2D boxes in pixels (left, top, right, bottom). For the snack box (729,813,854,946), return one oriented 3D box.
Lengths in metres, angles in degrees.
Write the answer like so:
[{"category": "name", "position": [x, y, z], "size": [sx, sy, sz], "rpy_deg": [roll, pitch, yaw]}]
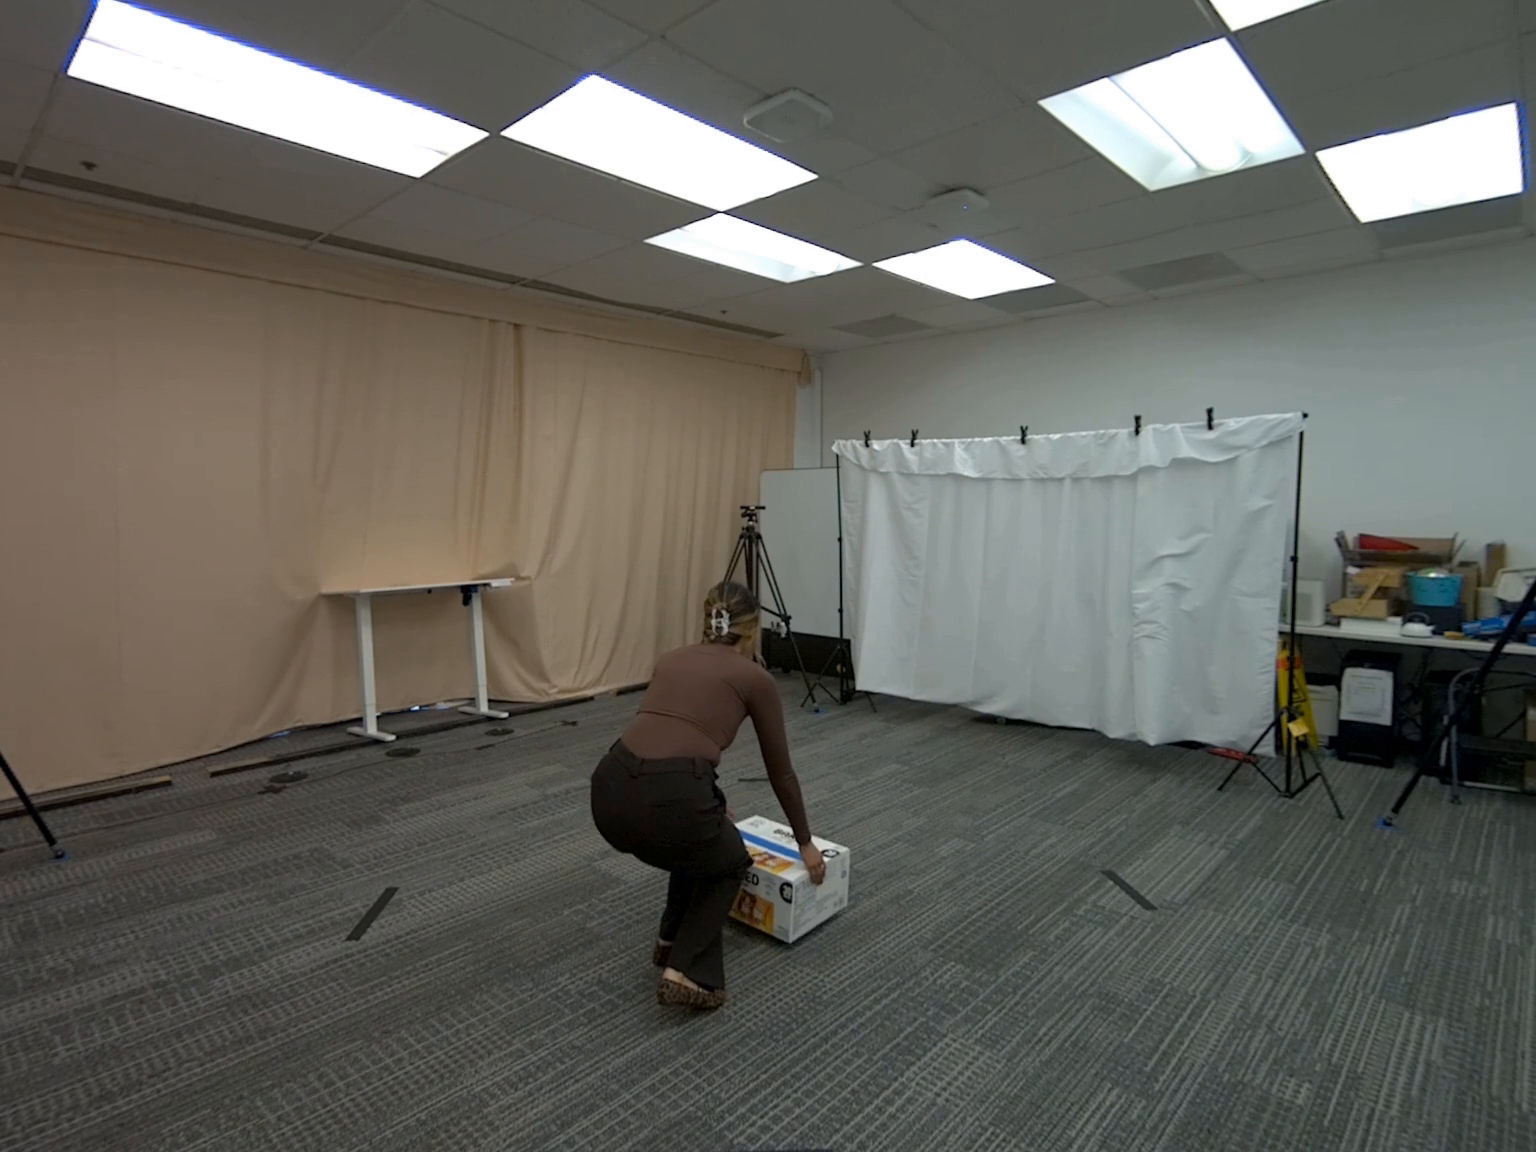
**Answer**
[{"category": "snack box", "position": [0.018, 0.999, 2.852], "size": [0.419, 0.205, 0.330], "rpy_deg": [7, 7, 38]}]
